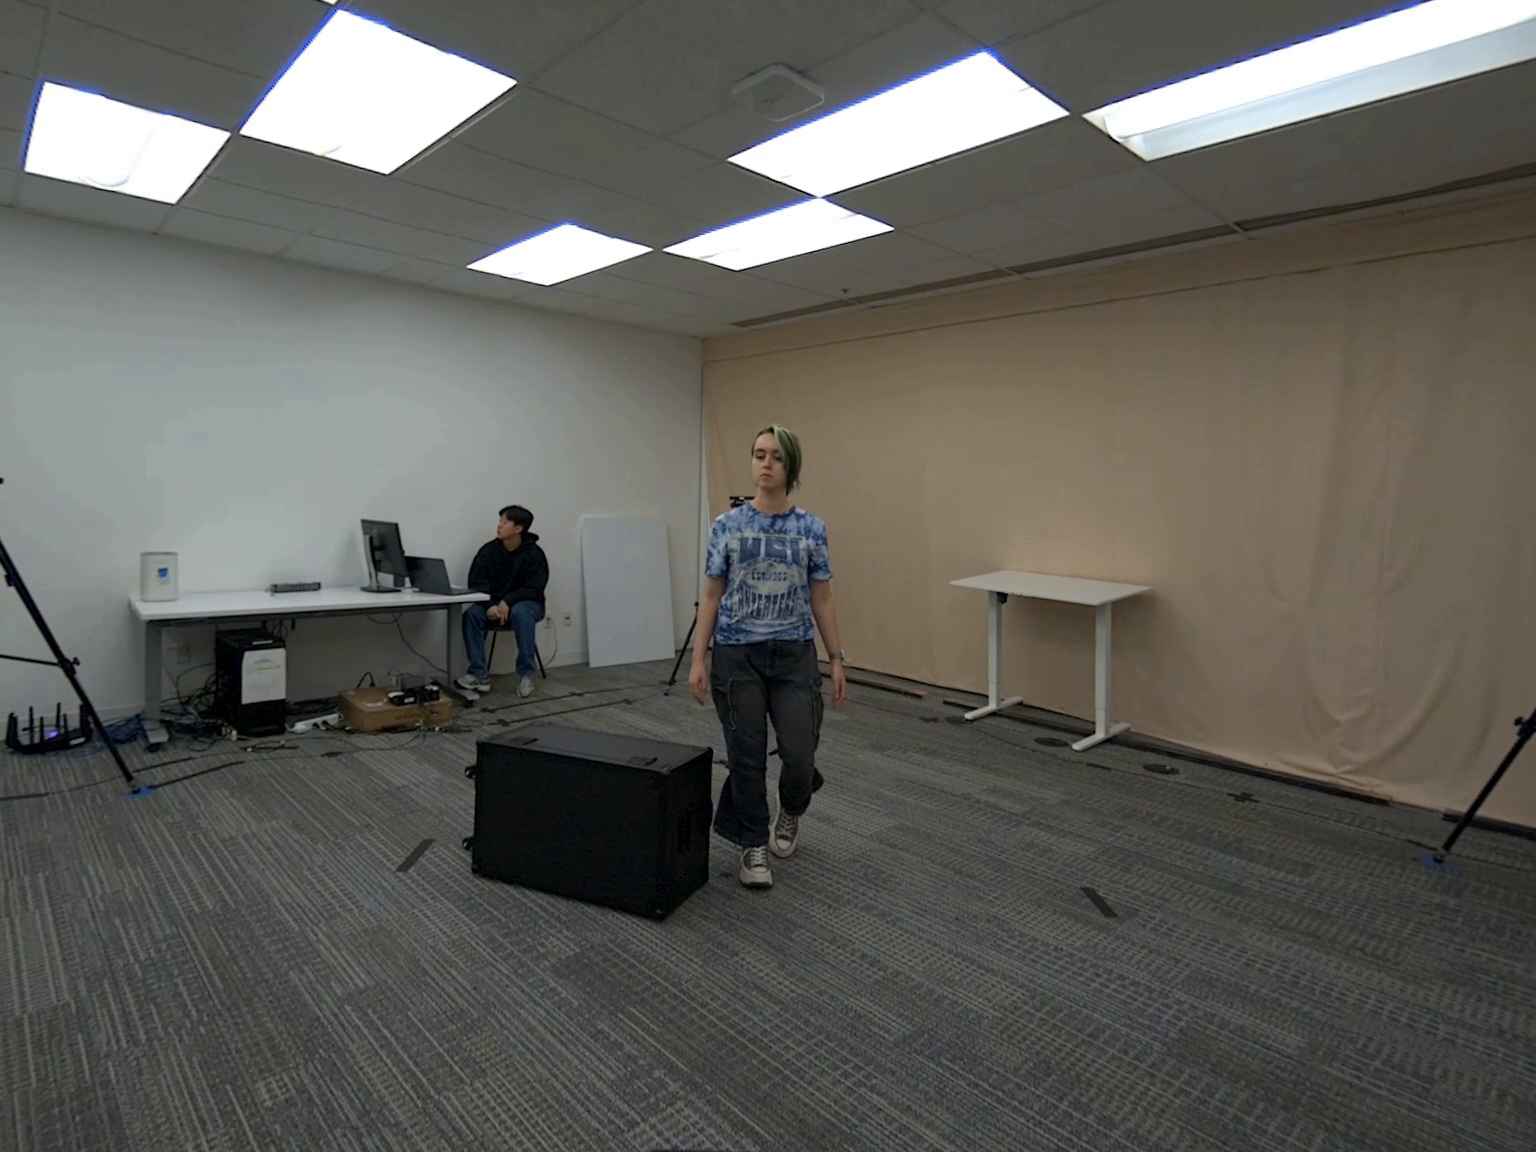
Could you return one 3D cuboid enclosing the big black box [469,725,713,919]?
[{"bbox_3d":[-0.665,0.839,3.063,0.877,0.520,0.389,4,2,23],"label":"big black box"}]
